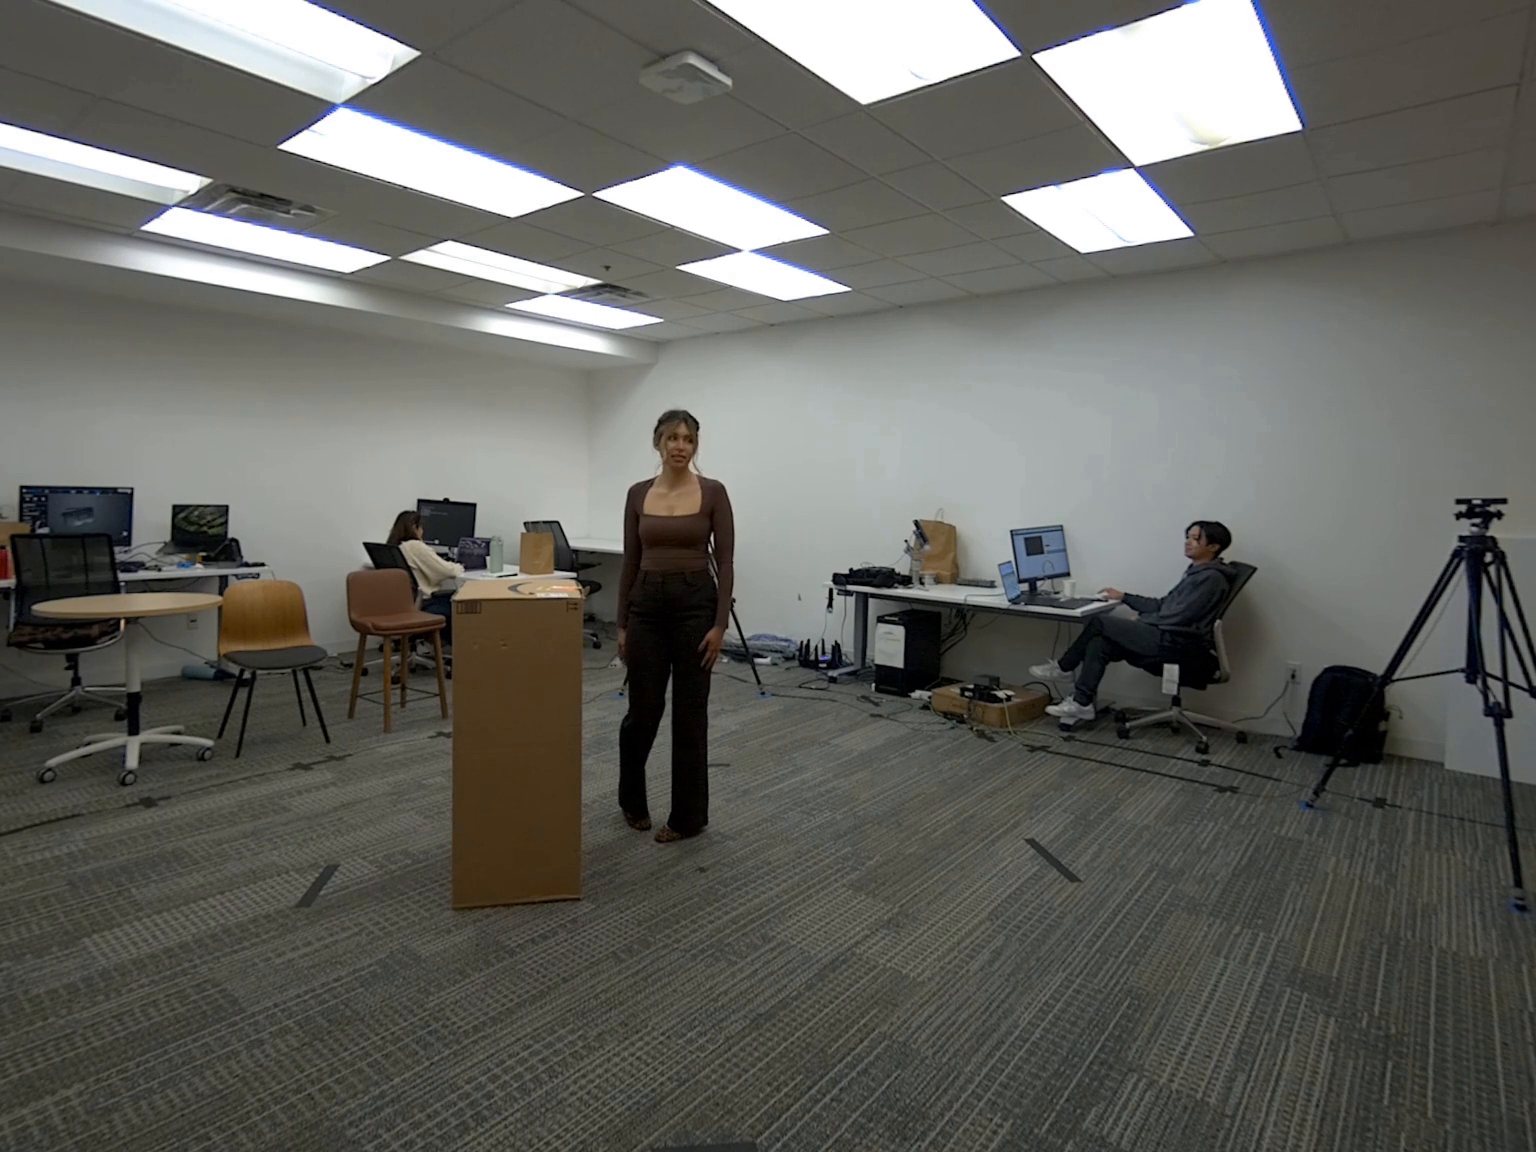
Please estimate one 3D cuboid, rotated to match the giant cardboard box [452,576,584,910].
[{"bbox_3d":[-0.912,0.547,3.073,0.440,1.024,0.594,1,3,-14],"label":"giant cardboard box"}]
